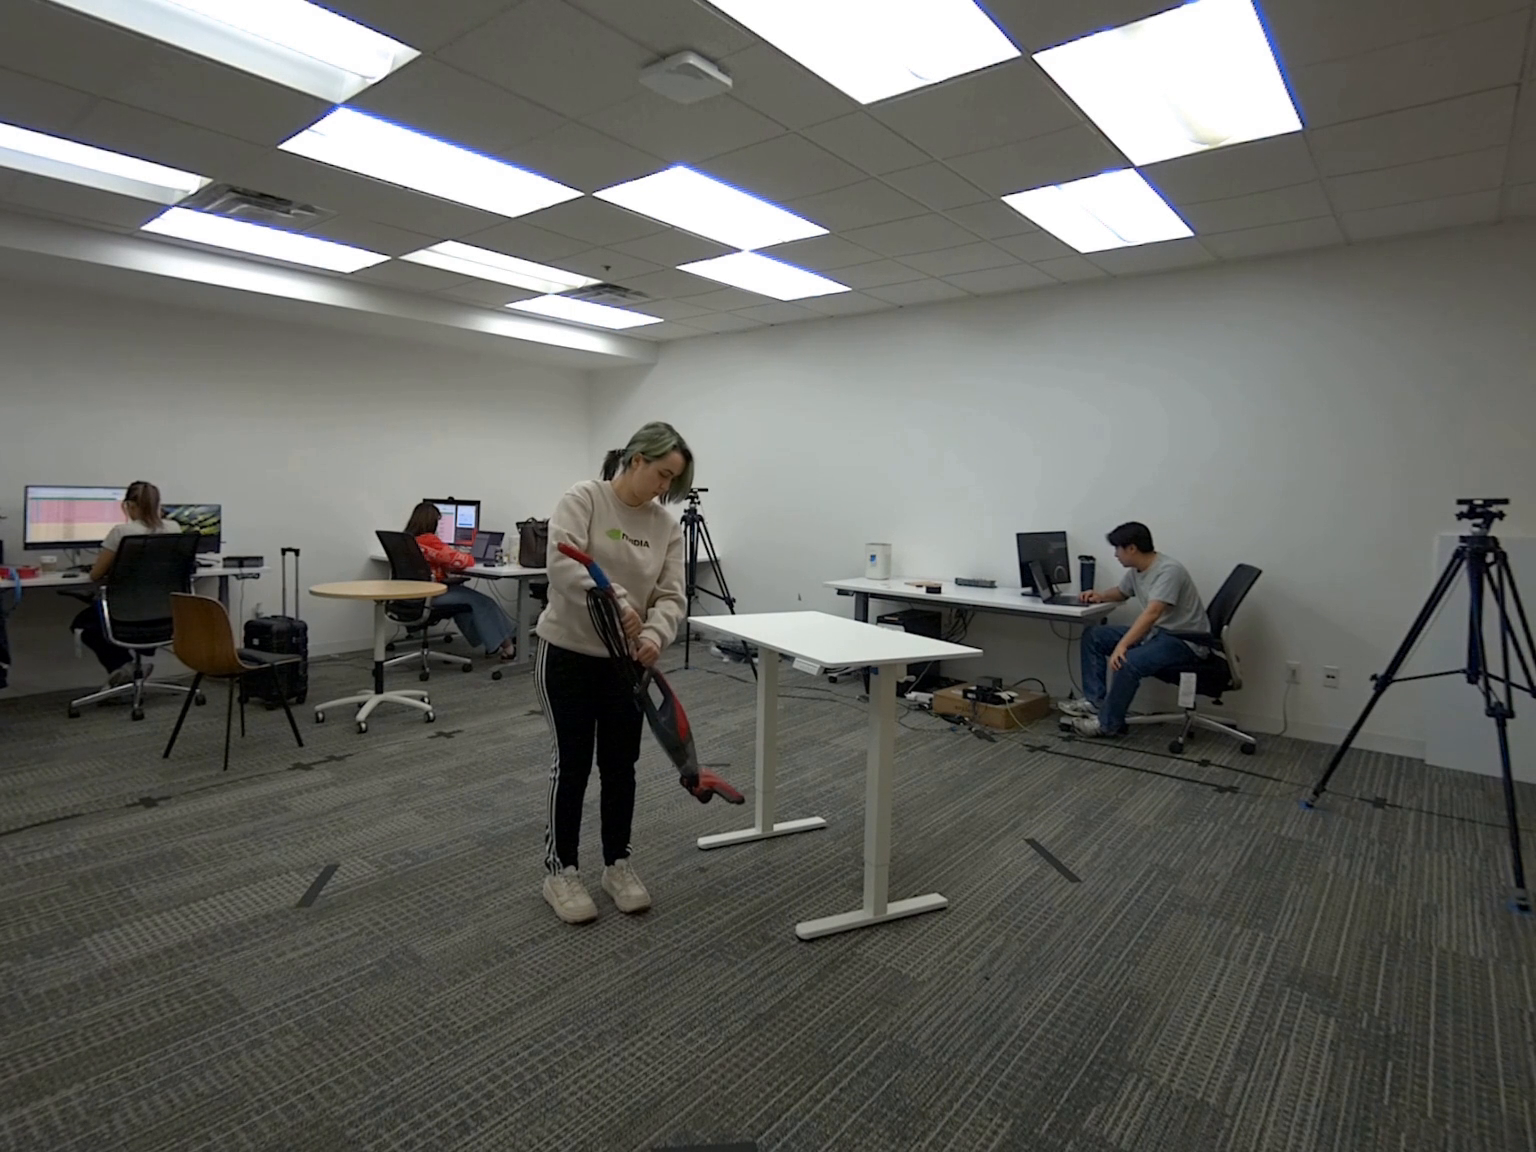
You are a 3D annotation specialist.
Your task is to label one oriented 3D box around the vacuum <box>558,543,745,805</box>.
[{"bbox_3d":[-0.388,0.317,2.616,0.143,1.014,0.262,-40,34,-26],"label":"vacuum"}]
